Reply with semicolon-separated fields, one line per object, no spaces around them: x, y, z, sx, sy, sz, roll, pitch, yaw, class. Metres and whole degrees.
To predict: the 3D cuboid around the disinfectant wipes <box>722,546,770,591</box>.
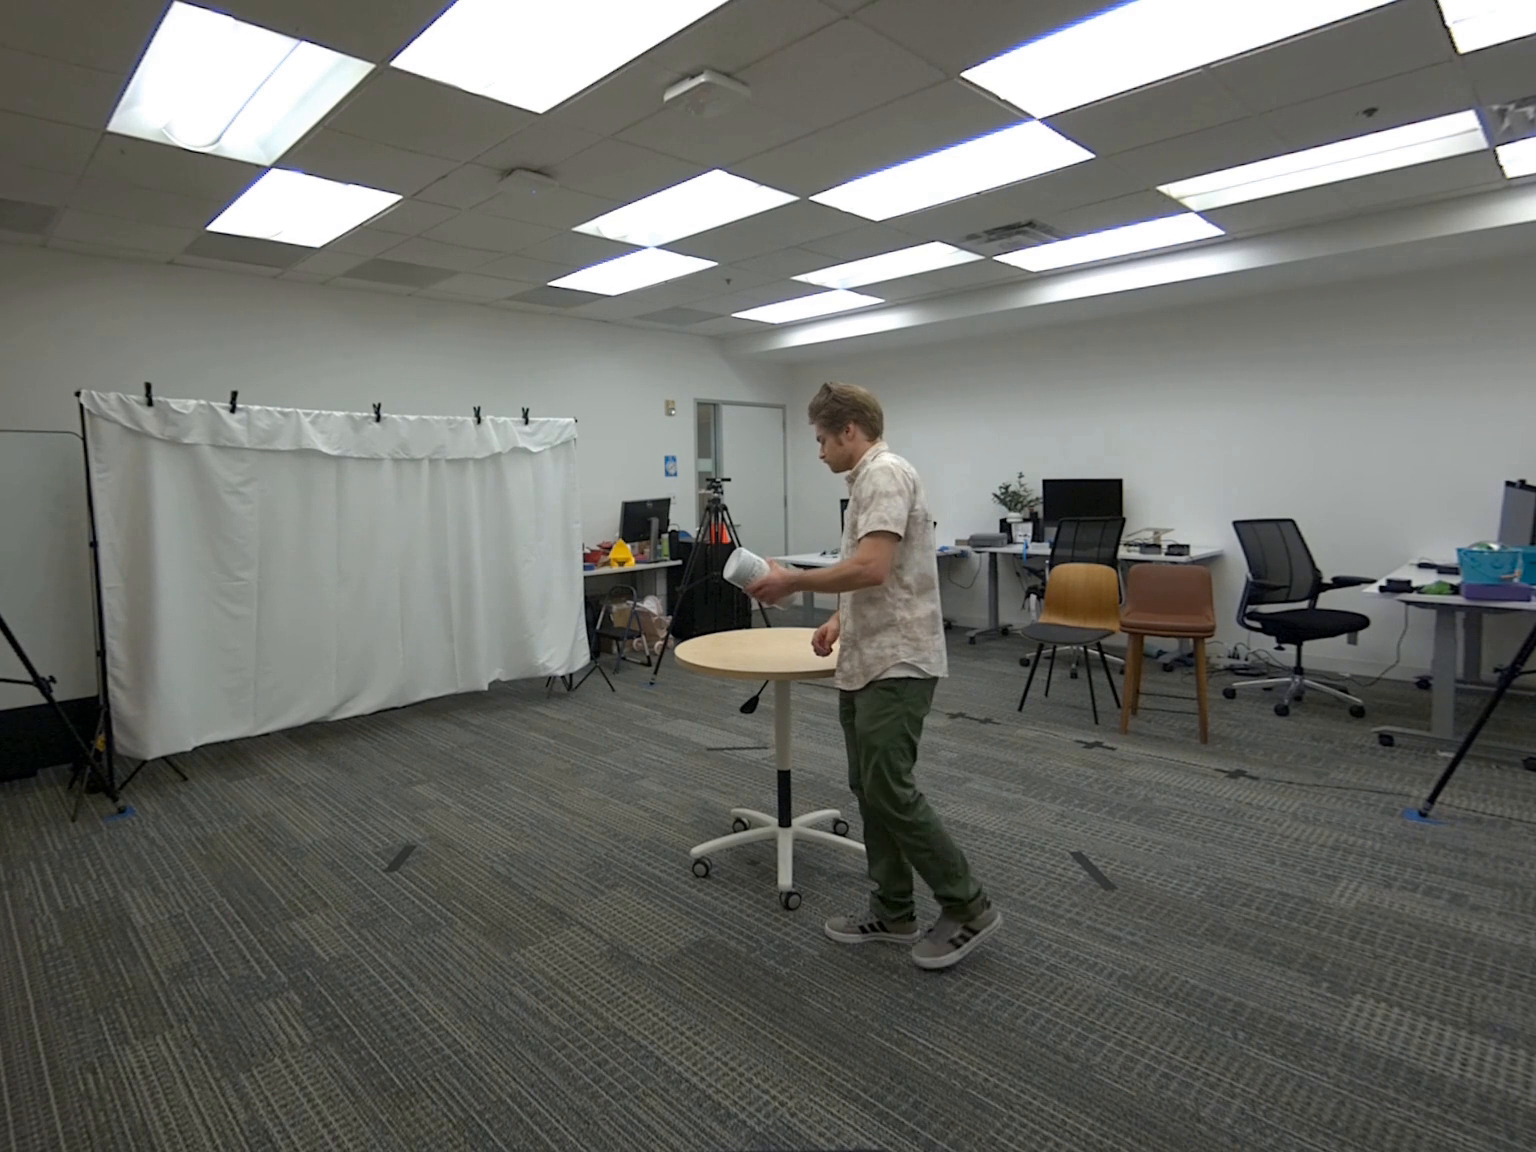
-0.011;0.007;2.573;0.213;0.118;0.120;30;-4;-15;disinfectant wipes
